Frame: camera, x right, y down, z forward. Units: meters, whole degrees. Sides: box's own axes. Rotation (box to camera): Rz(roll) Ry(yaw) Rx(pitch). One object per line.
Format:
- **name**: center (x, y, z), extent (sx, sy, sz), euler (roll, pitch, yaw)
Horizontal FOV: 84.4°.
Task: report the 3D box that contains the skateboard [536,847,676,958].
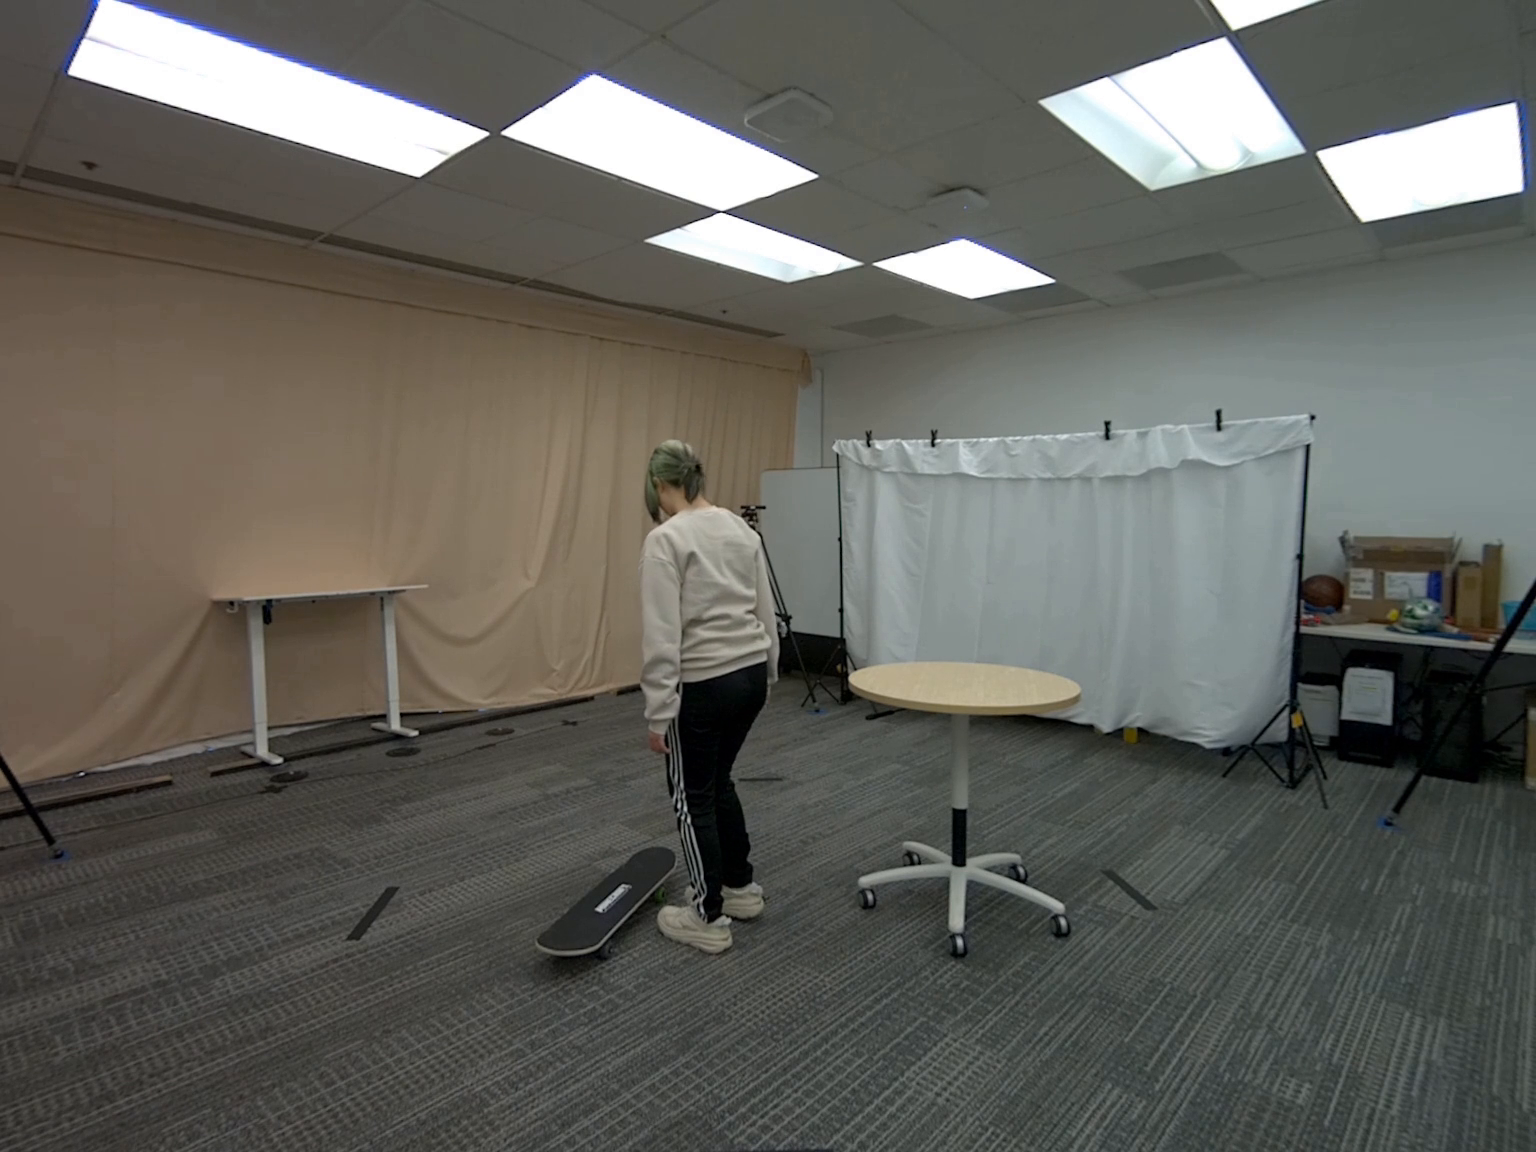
- **skateboard**: center (-0.514, 1.104, 2.804), extent (0.197, 0.110, 0.771), euler (1, 5, 18)
